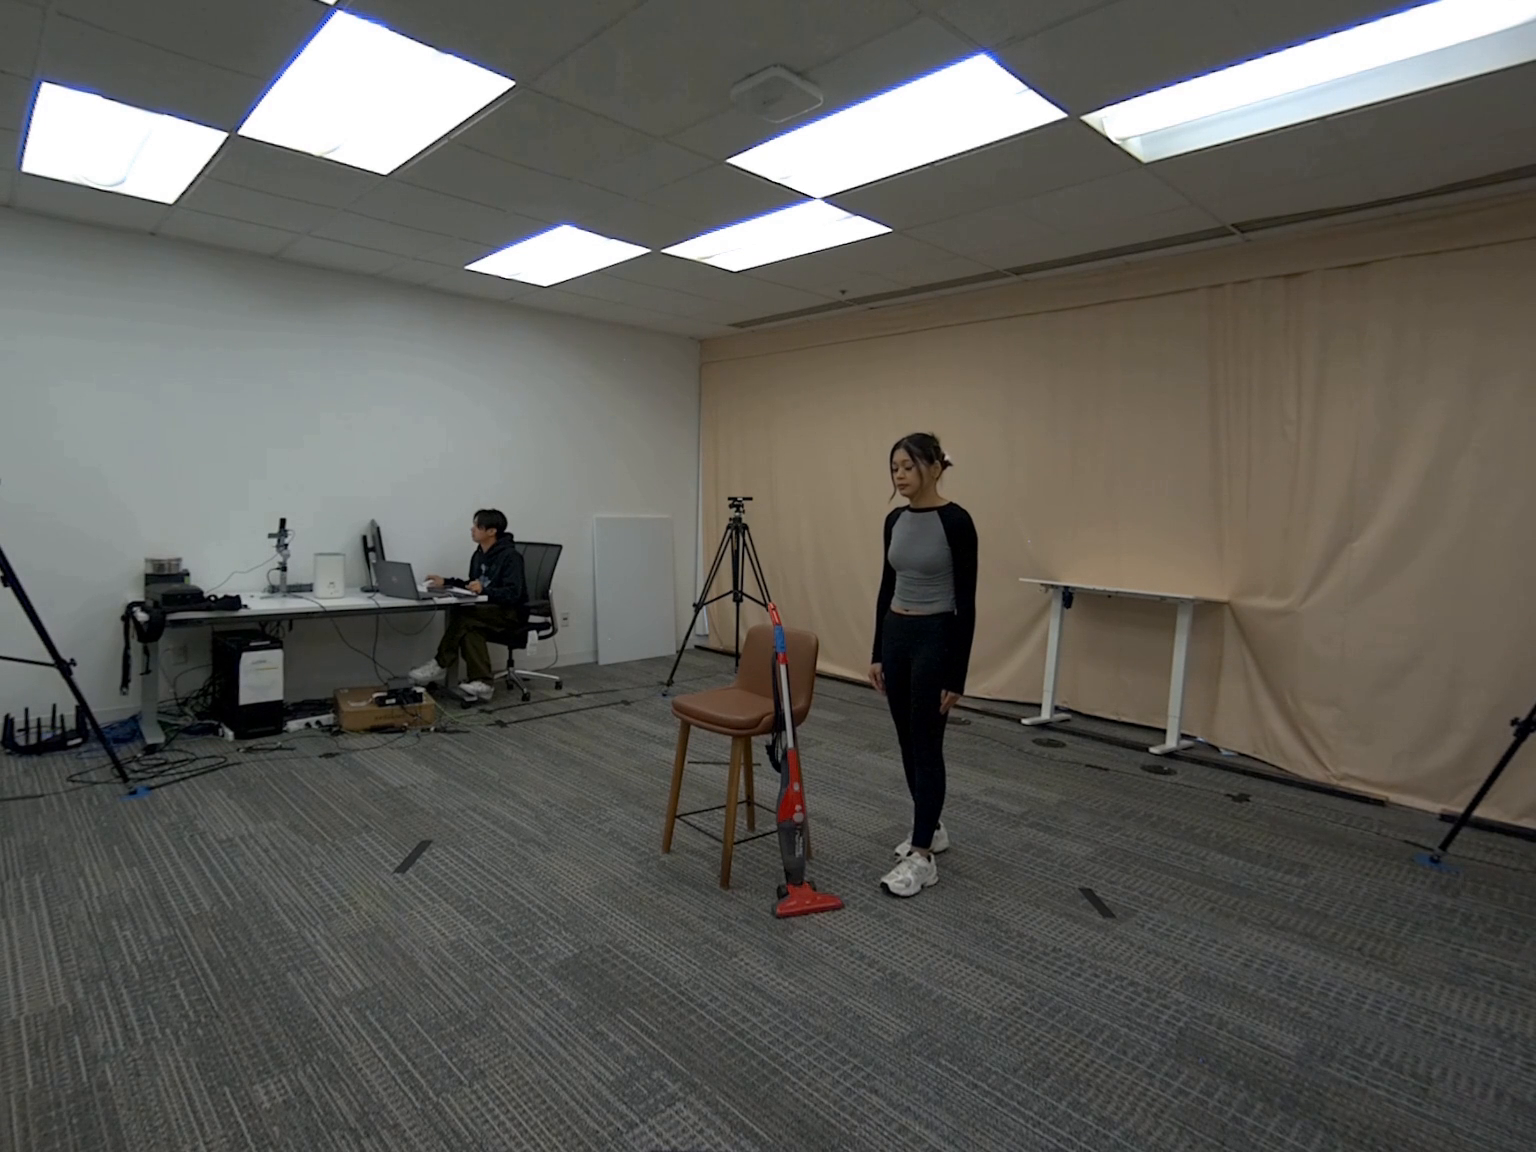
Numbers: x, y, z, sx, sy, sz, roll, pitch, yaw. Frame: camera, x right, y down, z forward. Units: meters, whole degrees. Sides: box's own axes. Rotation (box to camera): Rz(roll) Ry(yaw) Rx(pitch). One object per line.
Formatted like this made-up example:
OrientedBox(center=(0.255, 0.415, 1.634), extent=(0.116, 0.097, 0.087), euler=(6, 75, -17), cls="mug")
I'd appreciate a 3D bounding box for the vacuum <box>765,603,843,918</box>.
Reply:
OrientedBox(center=(0.058, 0.619, 3.035), extent=(0.248, 1.062, 0.144), euler=(0, -16, -23), cls="vacuum")
